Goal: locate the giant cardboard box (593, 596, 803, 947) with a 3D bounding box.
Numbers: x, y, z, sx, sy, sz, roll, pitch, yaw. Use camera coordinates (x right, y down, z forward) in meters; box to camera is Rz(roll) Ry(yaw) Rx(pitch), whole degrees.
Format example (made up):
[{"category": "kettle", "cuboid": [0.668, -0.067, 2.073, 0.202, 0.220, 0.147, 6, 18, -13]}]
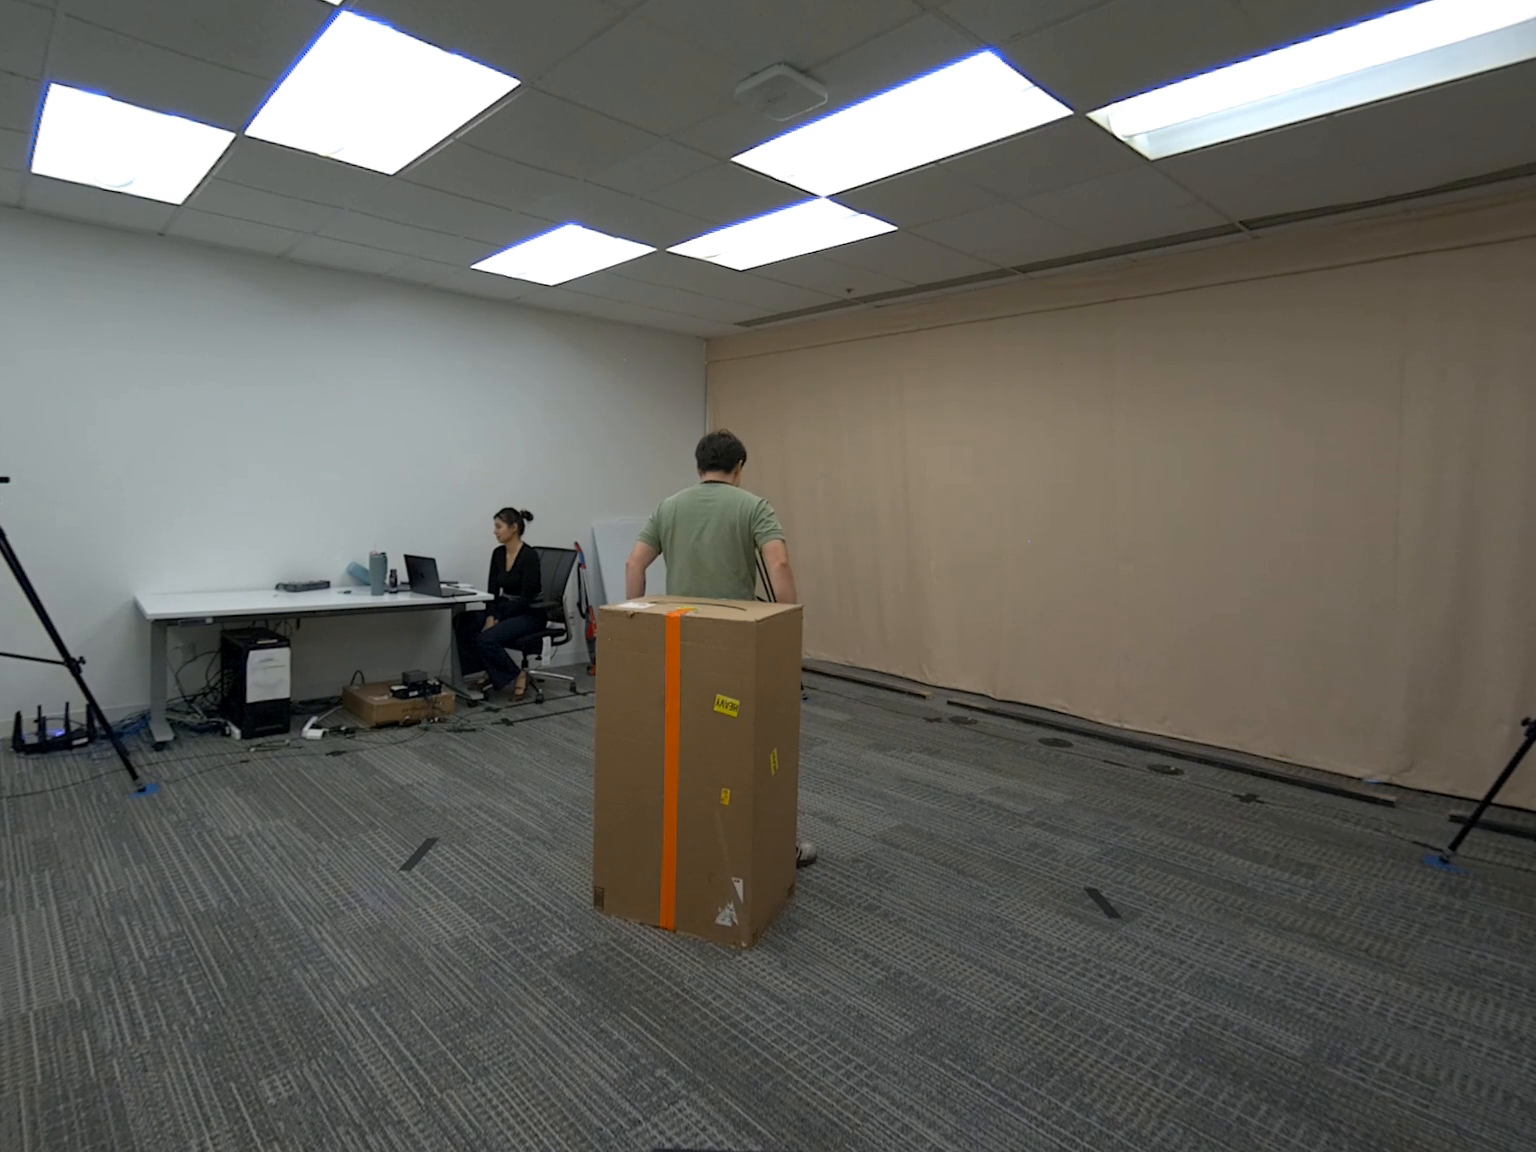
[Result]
[{"category": "giant cardboard box", "cuboid": [-0.239, 0.610, 2.853, 0.588, 1.023, 0.419, 3, 4, 24]}]
